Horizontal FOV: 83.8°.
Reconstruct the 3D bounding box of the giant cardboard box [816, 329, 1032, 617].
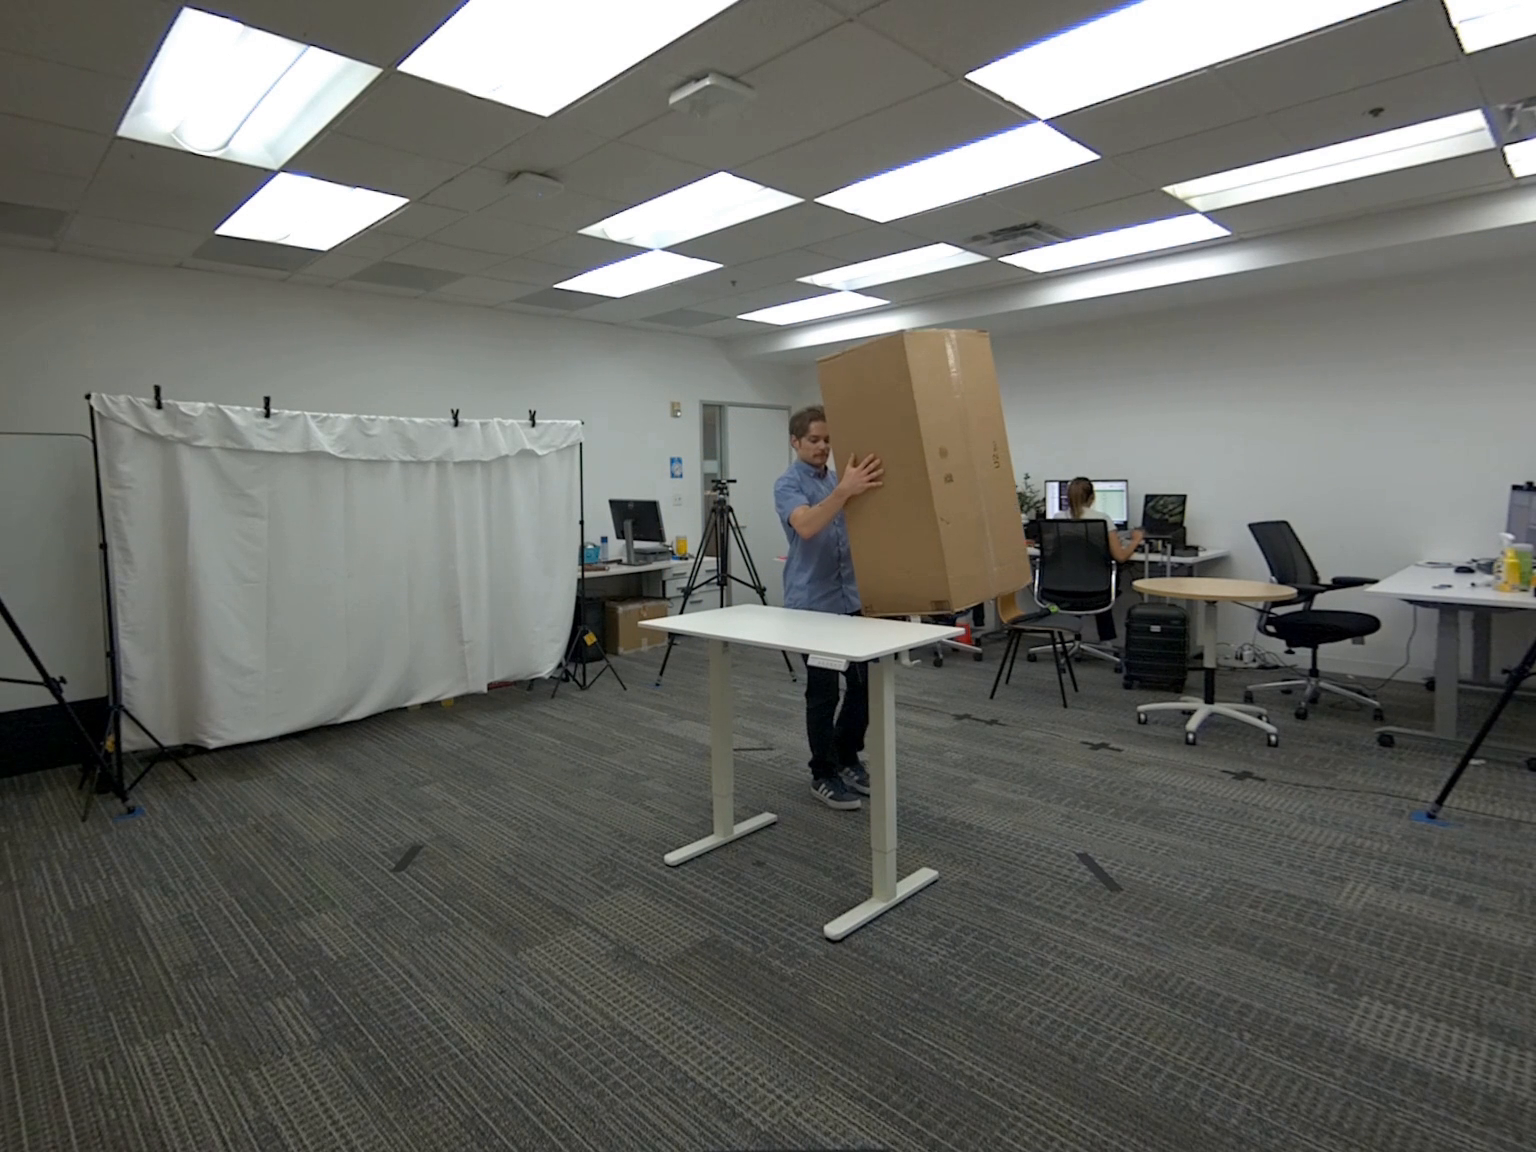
[{"bbox_3d":[0.615,-0.404,3.350,0.564,1.024,0.436,-12,2,-42],"label":"giant cardboard box"}]
